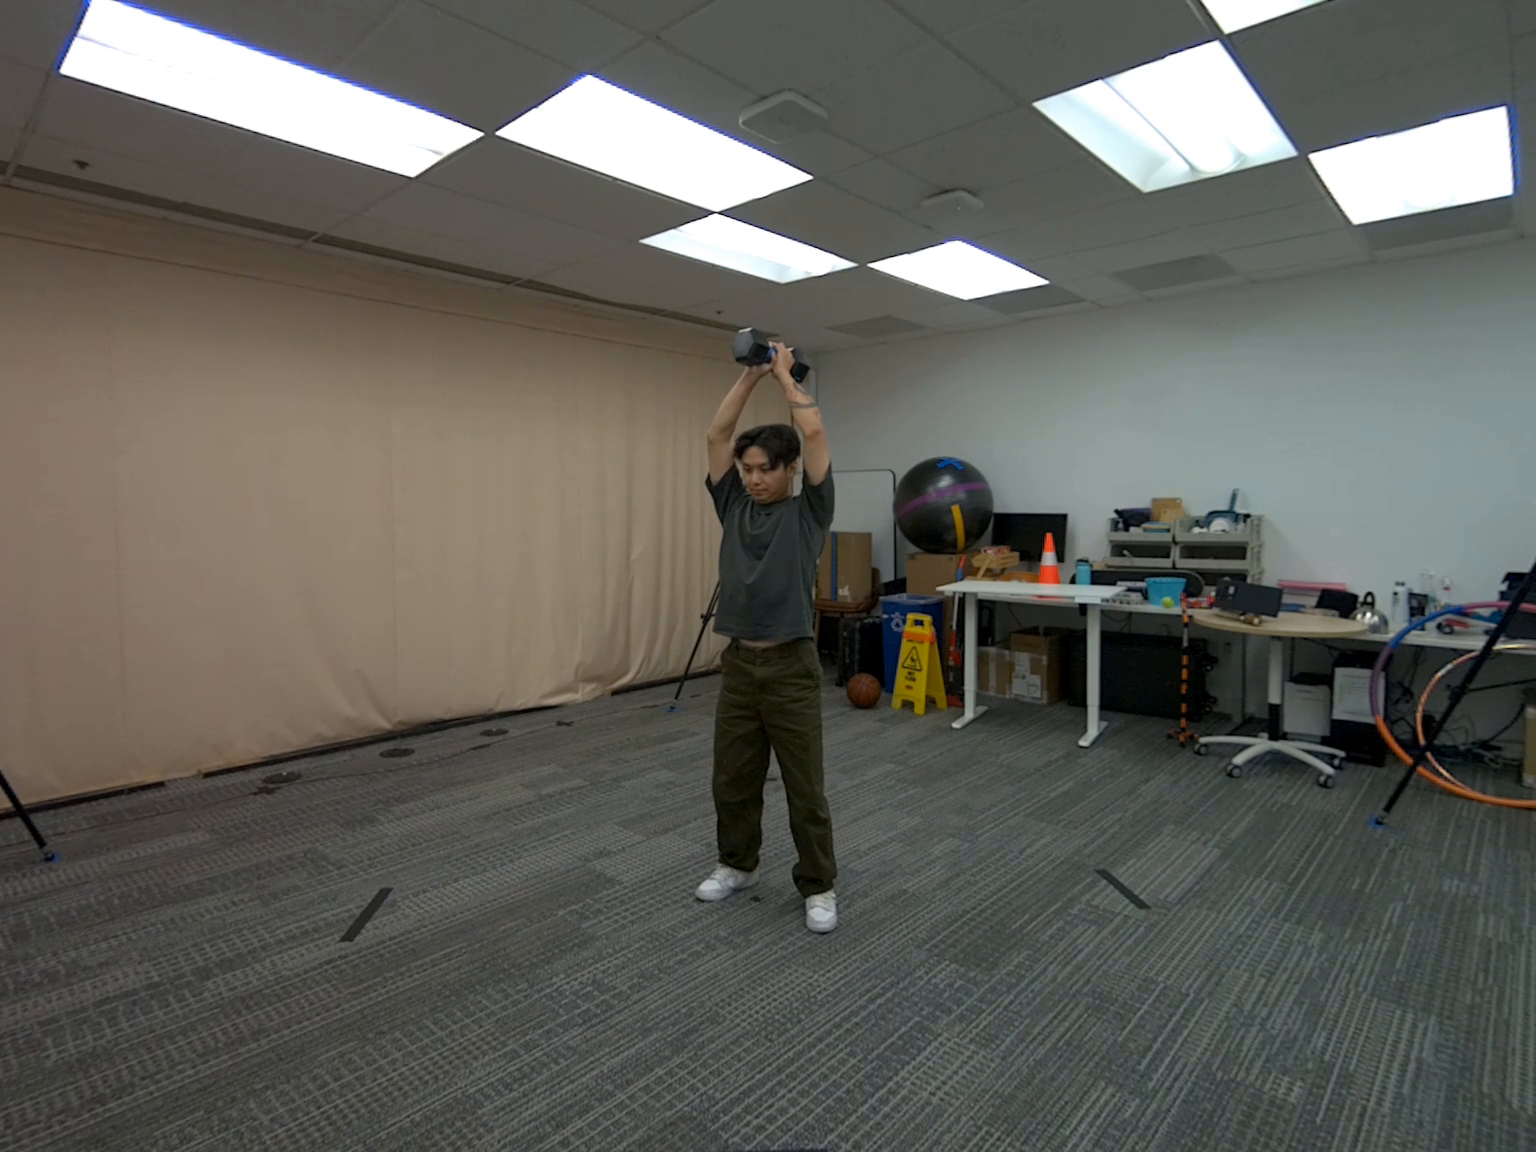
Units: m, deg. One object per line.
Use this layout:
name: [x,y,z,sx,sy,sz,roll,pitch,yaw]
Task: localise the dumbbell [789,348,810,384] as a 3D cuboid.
dumbbell: [0.010,-0.738,2.834,0.283,0.123,0.112,11,27,-47]
